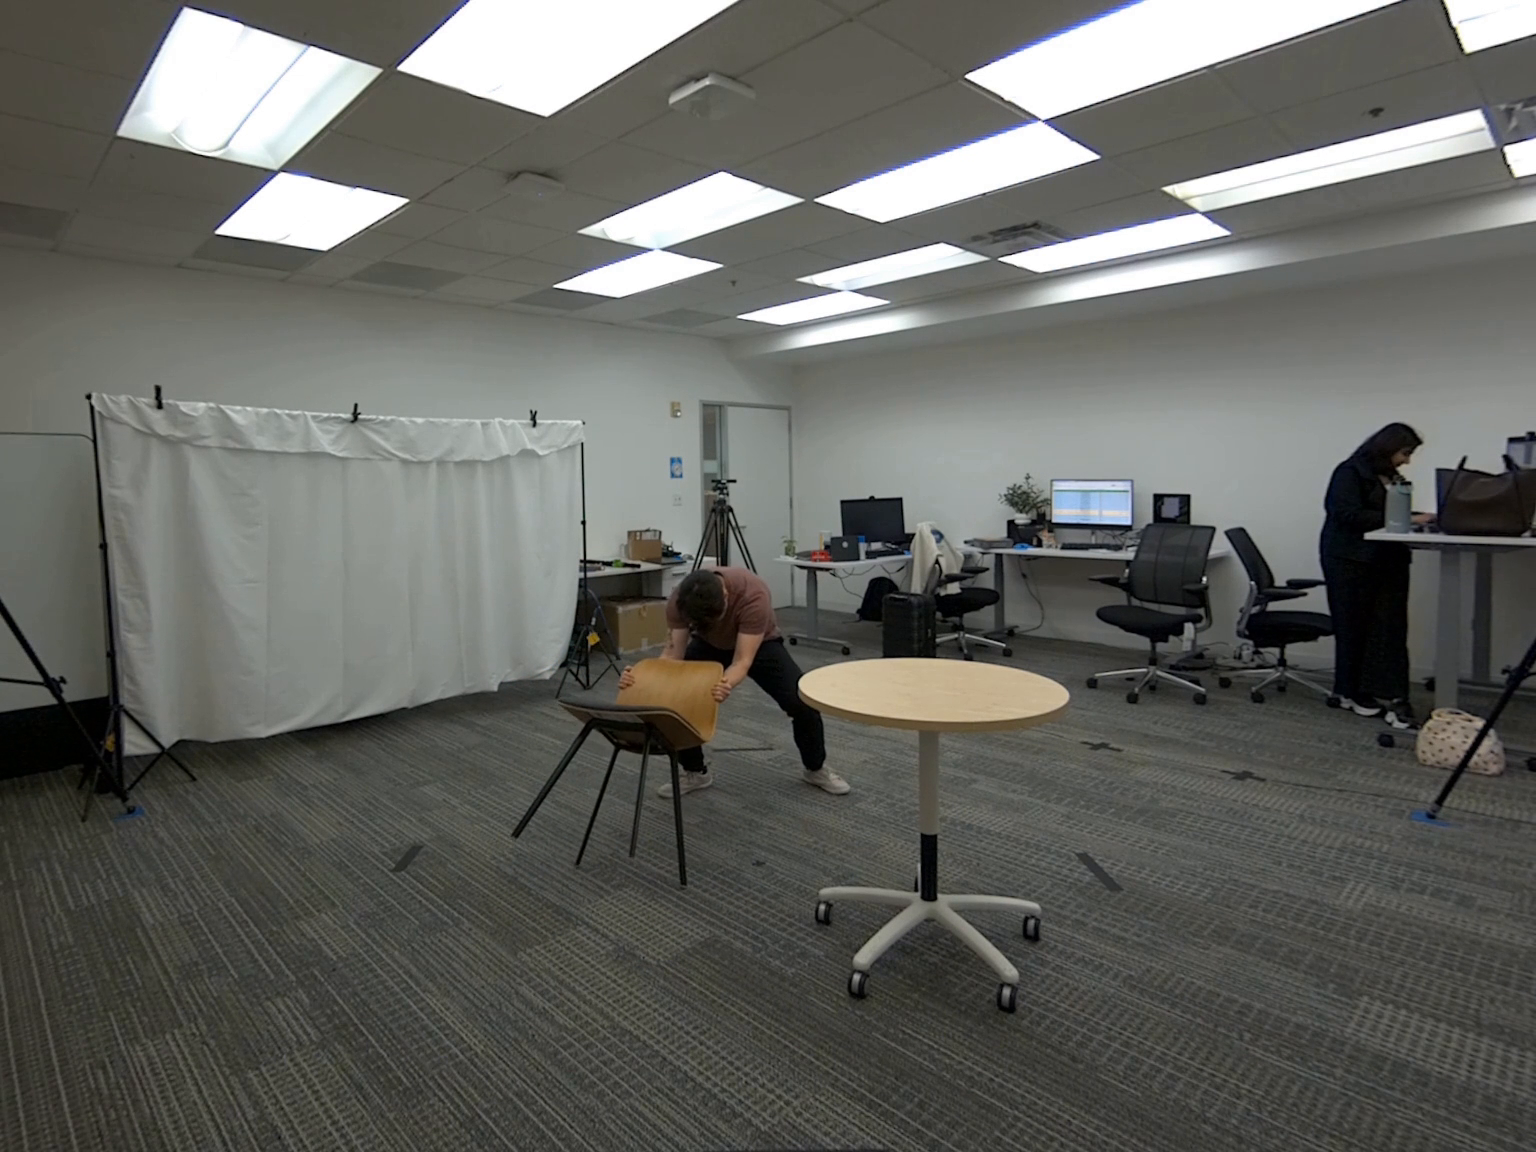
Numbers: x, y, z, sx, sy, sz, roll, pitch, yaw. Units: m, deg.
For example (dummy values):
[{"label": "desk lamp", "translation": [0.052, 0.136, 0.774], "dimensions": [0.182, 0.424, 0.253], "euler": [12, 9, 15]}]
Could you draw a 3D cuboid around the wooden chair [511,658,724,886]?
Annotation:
[{"label": "wooden chair", "translation": [-0.486, 0.578, 3.038], "dimensions": [0.488, 0.892, 0.504], "euler": [0, -33, 22]}]
